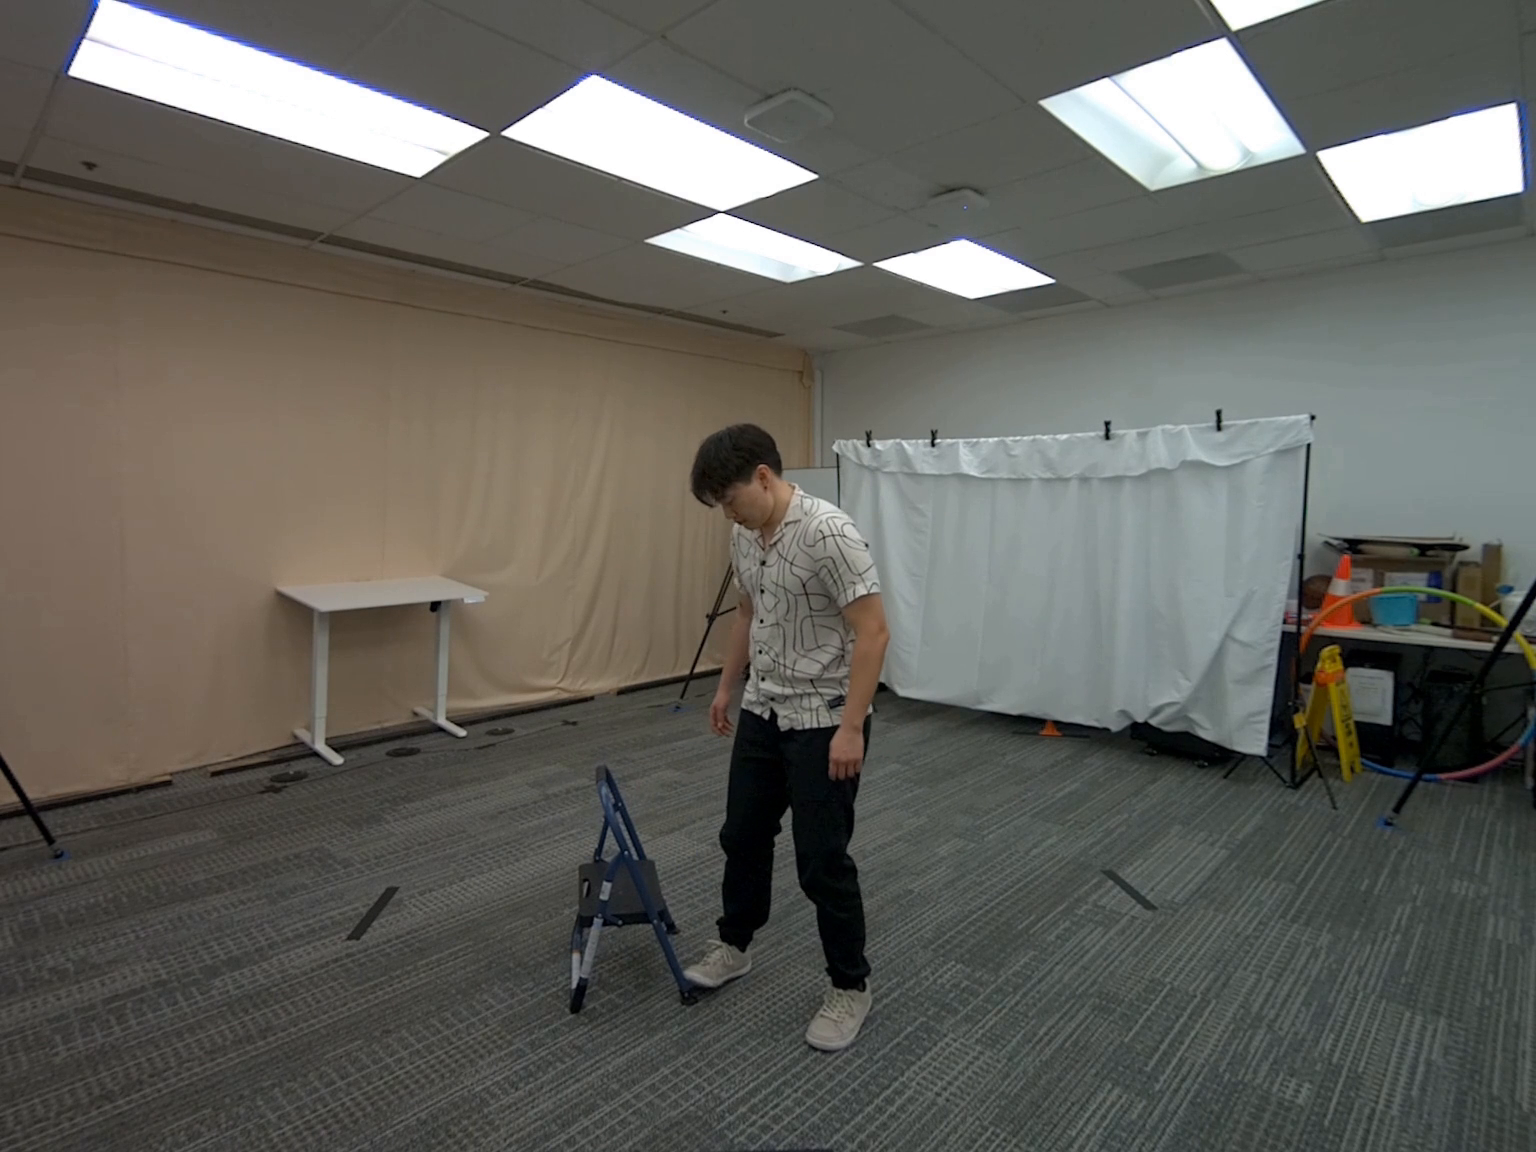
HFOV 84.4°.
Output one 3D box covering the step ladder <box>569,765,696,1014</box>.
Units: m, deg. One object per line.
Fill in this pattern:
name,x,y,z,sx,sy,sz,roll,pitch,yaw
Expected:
step ladder,-0.428,0.886,2.518,0.345,0.605,0.436,-1,3,-12
